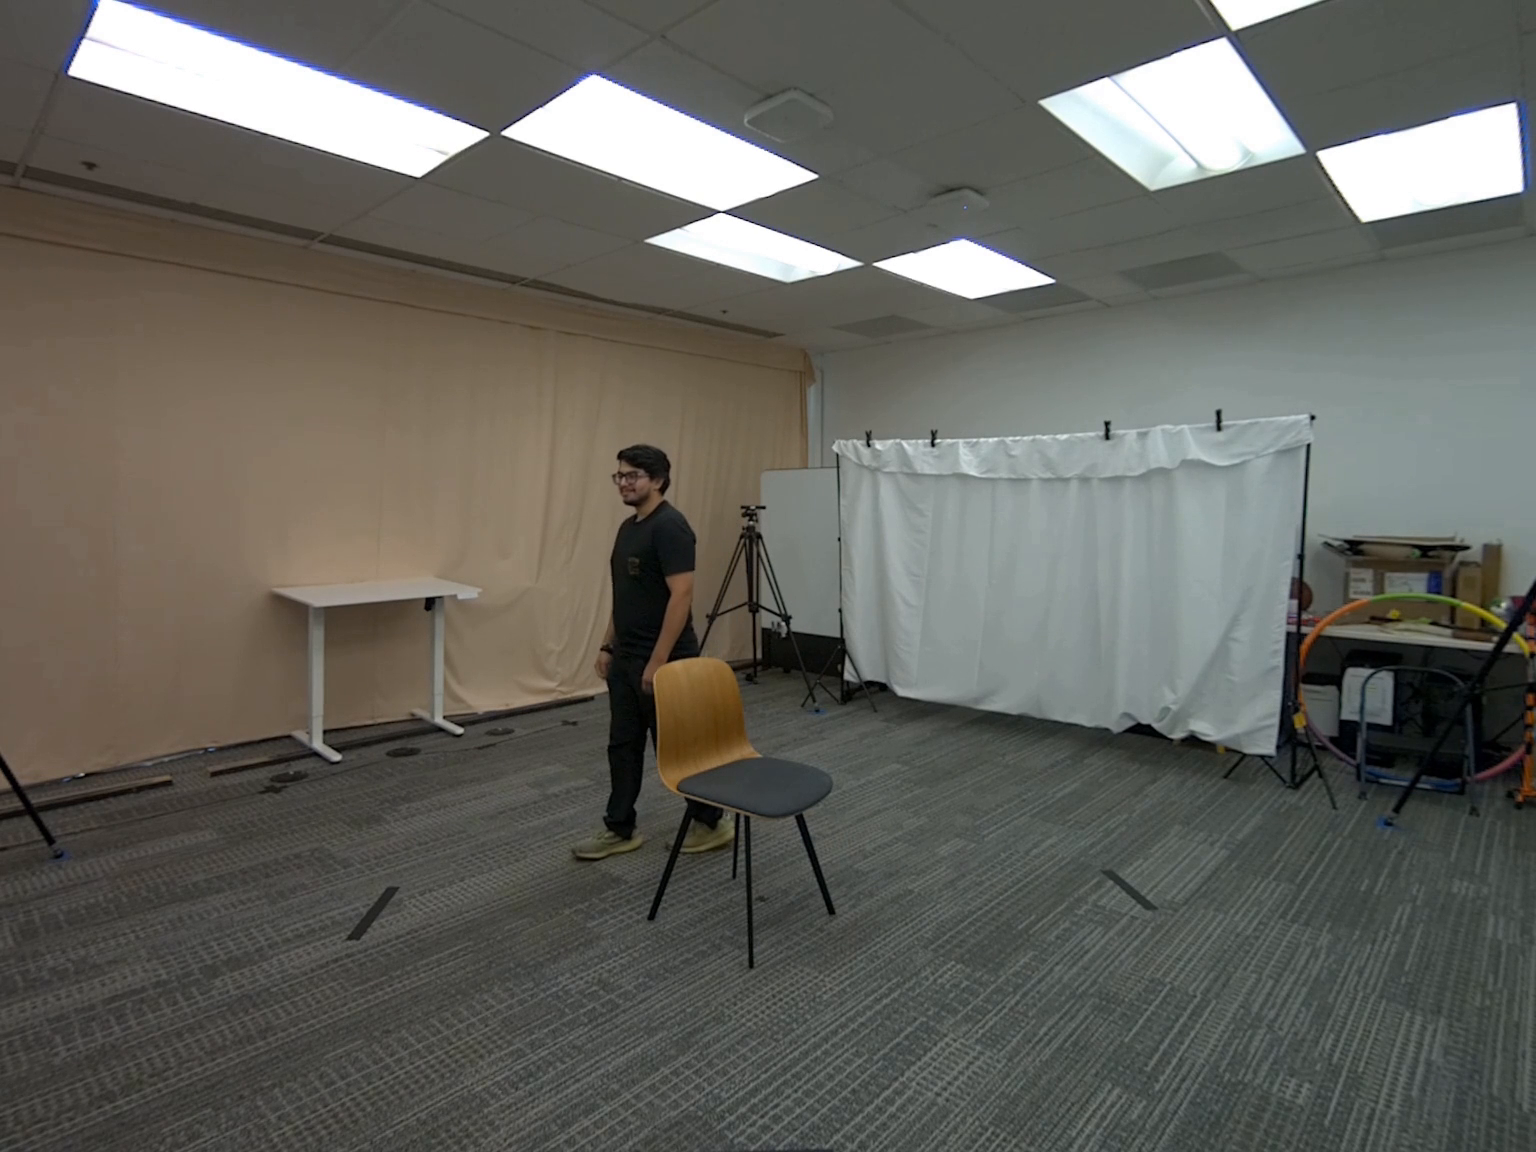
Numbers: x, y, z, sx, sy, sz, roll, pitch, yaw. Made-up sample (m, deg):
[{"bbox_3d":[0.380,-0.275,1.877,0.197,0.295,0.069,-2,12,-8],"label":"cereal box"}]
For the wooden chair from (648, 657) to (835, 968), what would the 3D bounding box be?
[{"bbox_3d":[-0.077,0.732,2.810,0.539,0.877,0.463,-3,1,40],"label":"wooden chair"}]
